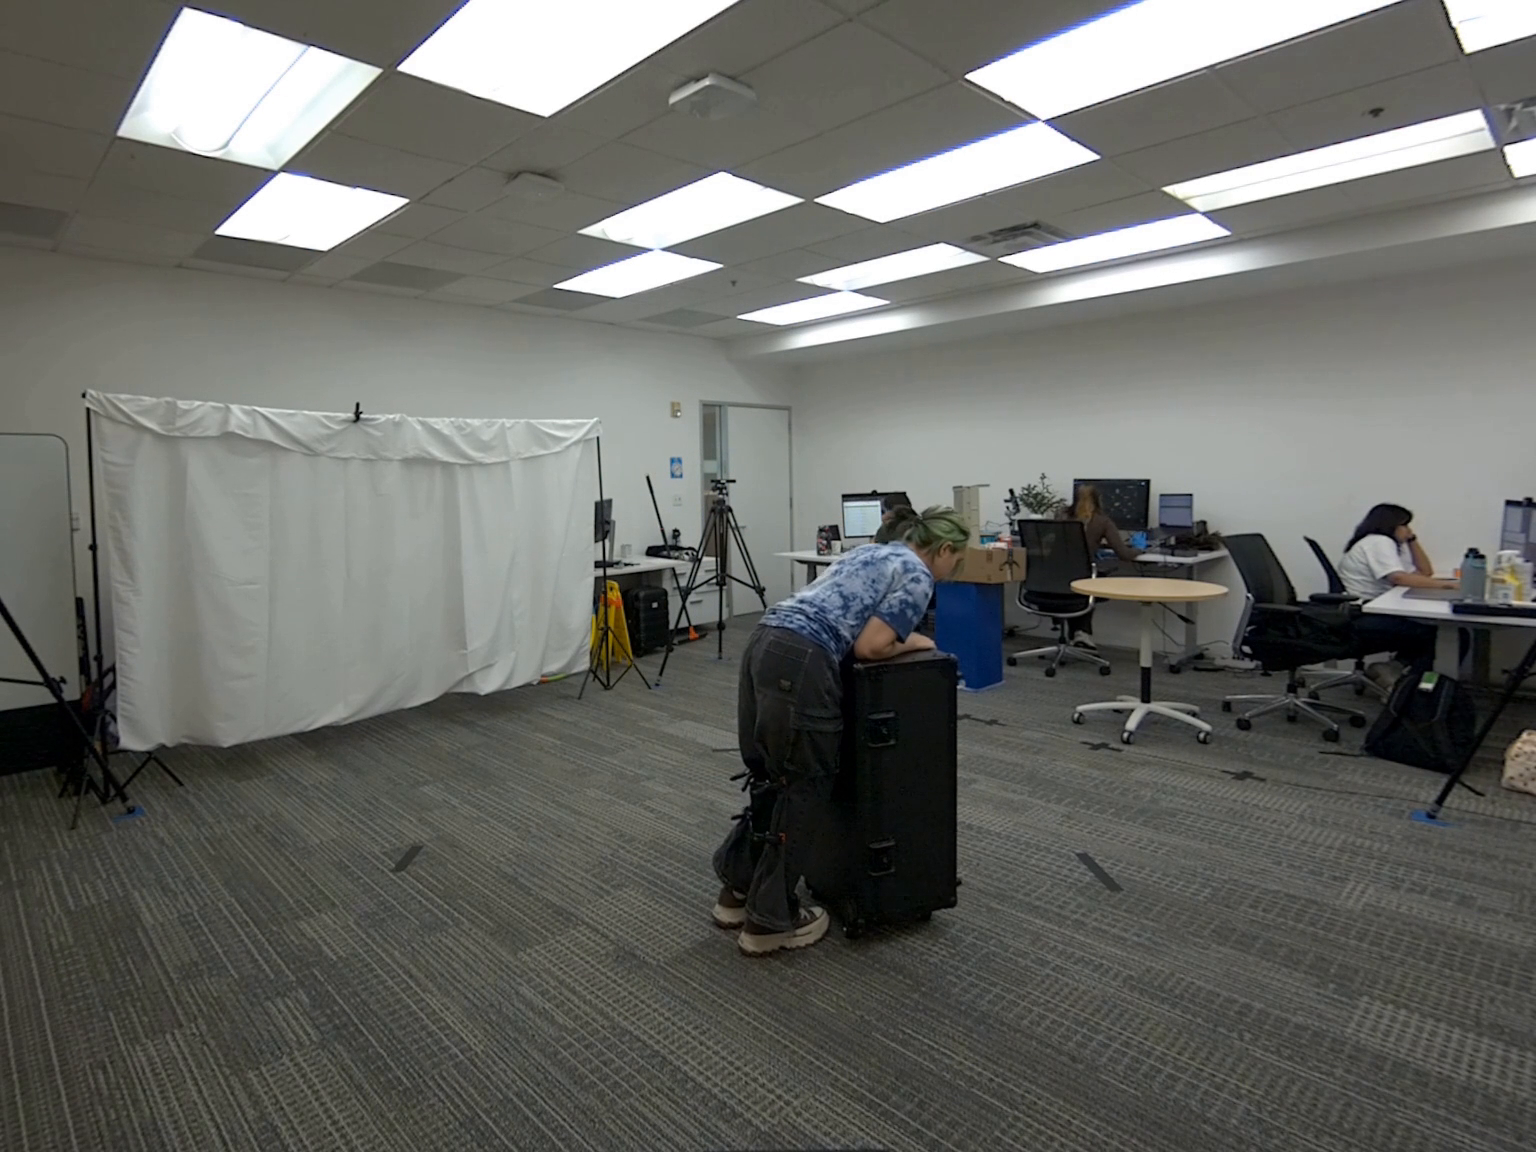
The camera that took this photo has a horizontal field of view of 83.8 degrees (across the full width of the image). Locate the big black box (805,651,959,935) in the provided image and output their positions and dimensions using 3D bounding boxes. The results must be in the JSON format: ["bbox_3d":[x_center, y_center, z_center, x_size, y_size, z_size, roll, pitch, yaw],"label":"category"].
[{"bbox_3d":[0.342,0.596,2.772,0.389,0.859,0.533,-2,3,-22],"label":"big black box"}]
